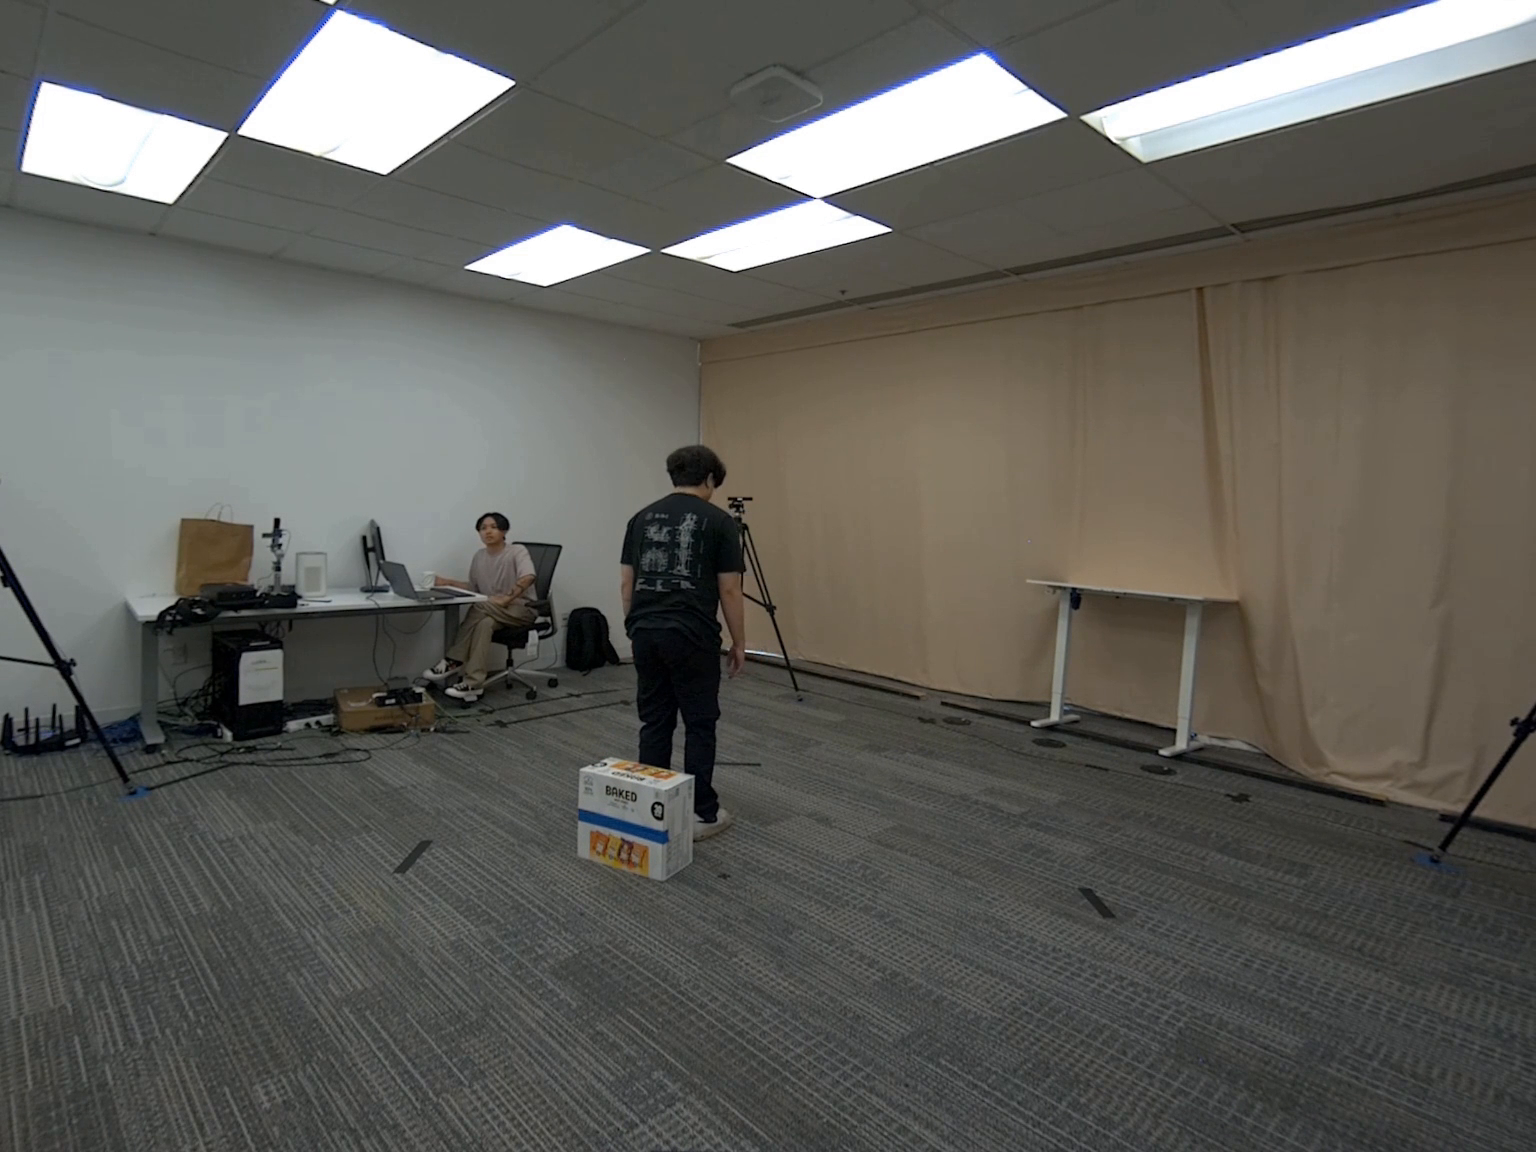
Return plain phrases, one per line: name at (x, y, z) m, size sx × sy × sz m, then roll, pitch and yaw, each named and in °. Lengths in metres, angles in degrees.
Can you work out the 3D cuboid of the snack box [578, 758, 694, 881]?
snack box at (-0.511, 0.917, 3.223) m, size 0.414 × 0.339 × 0.202 m, roll 4°, pitch 4°, yaw 29°
